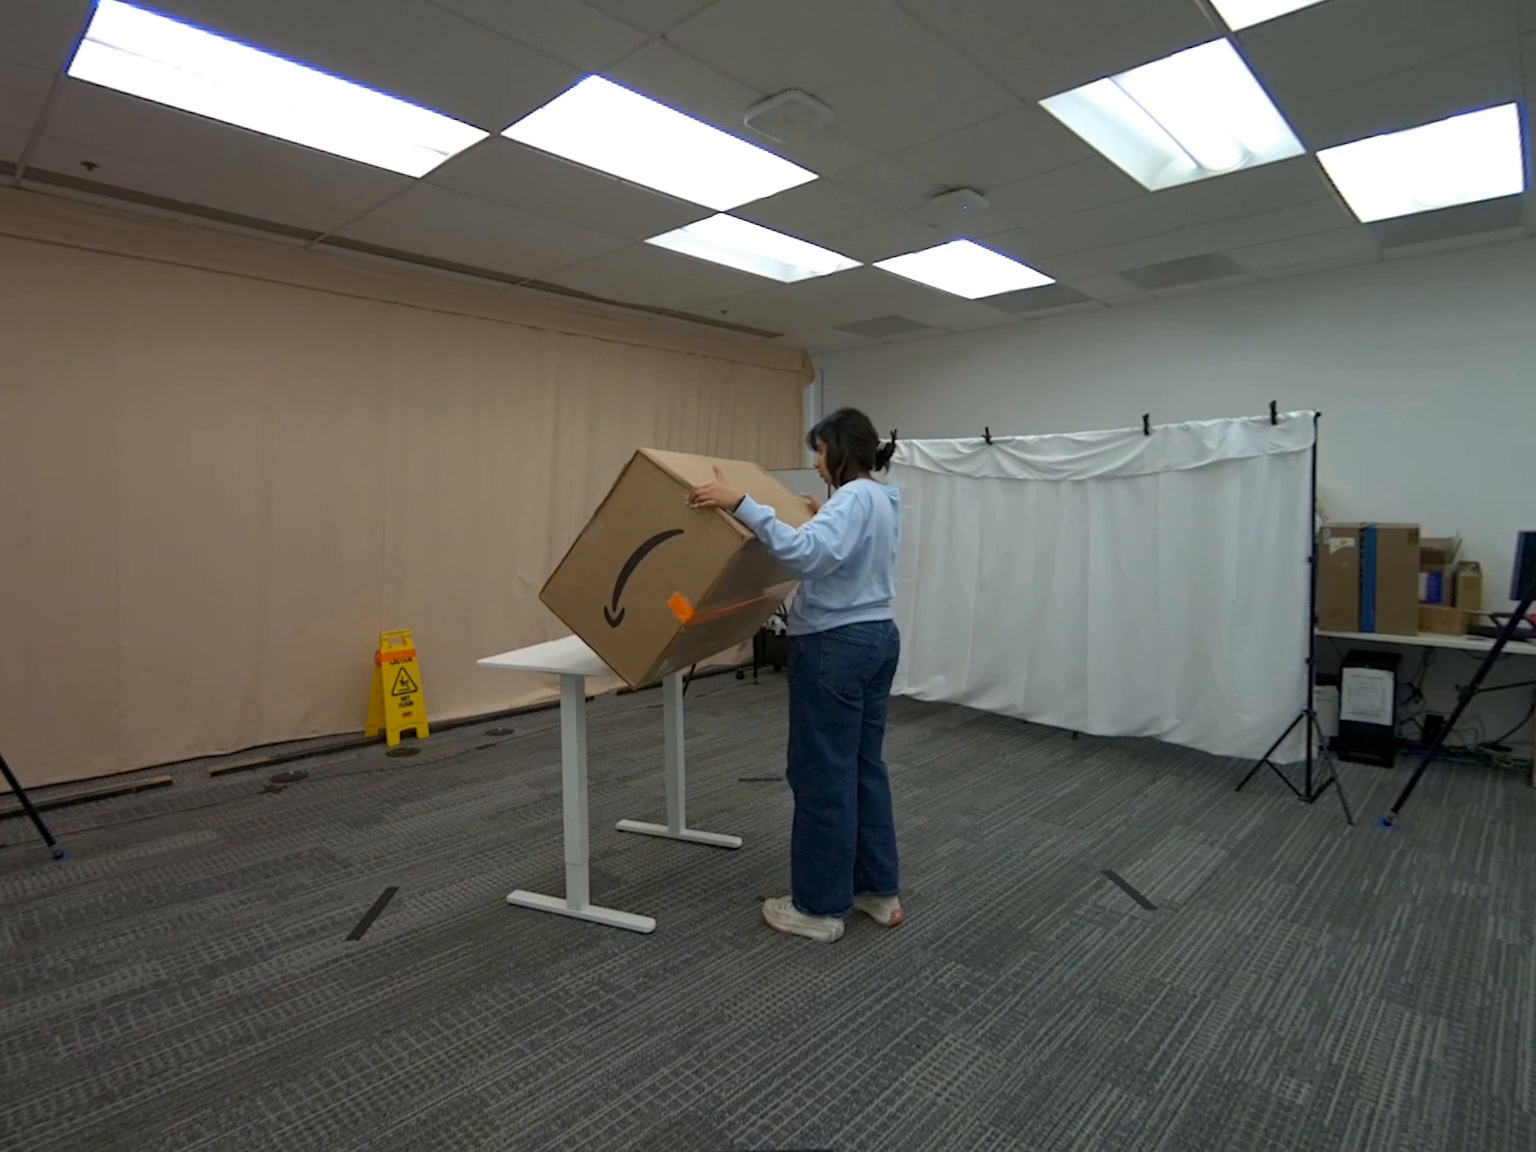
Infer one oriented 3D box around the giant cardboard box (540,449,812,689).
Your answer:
[{"bbox_3d":[-0.221,-0.056,2.911,0.433,0.579,1.006,41,16,12],"label":"giant cardboard box"}]
